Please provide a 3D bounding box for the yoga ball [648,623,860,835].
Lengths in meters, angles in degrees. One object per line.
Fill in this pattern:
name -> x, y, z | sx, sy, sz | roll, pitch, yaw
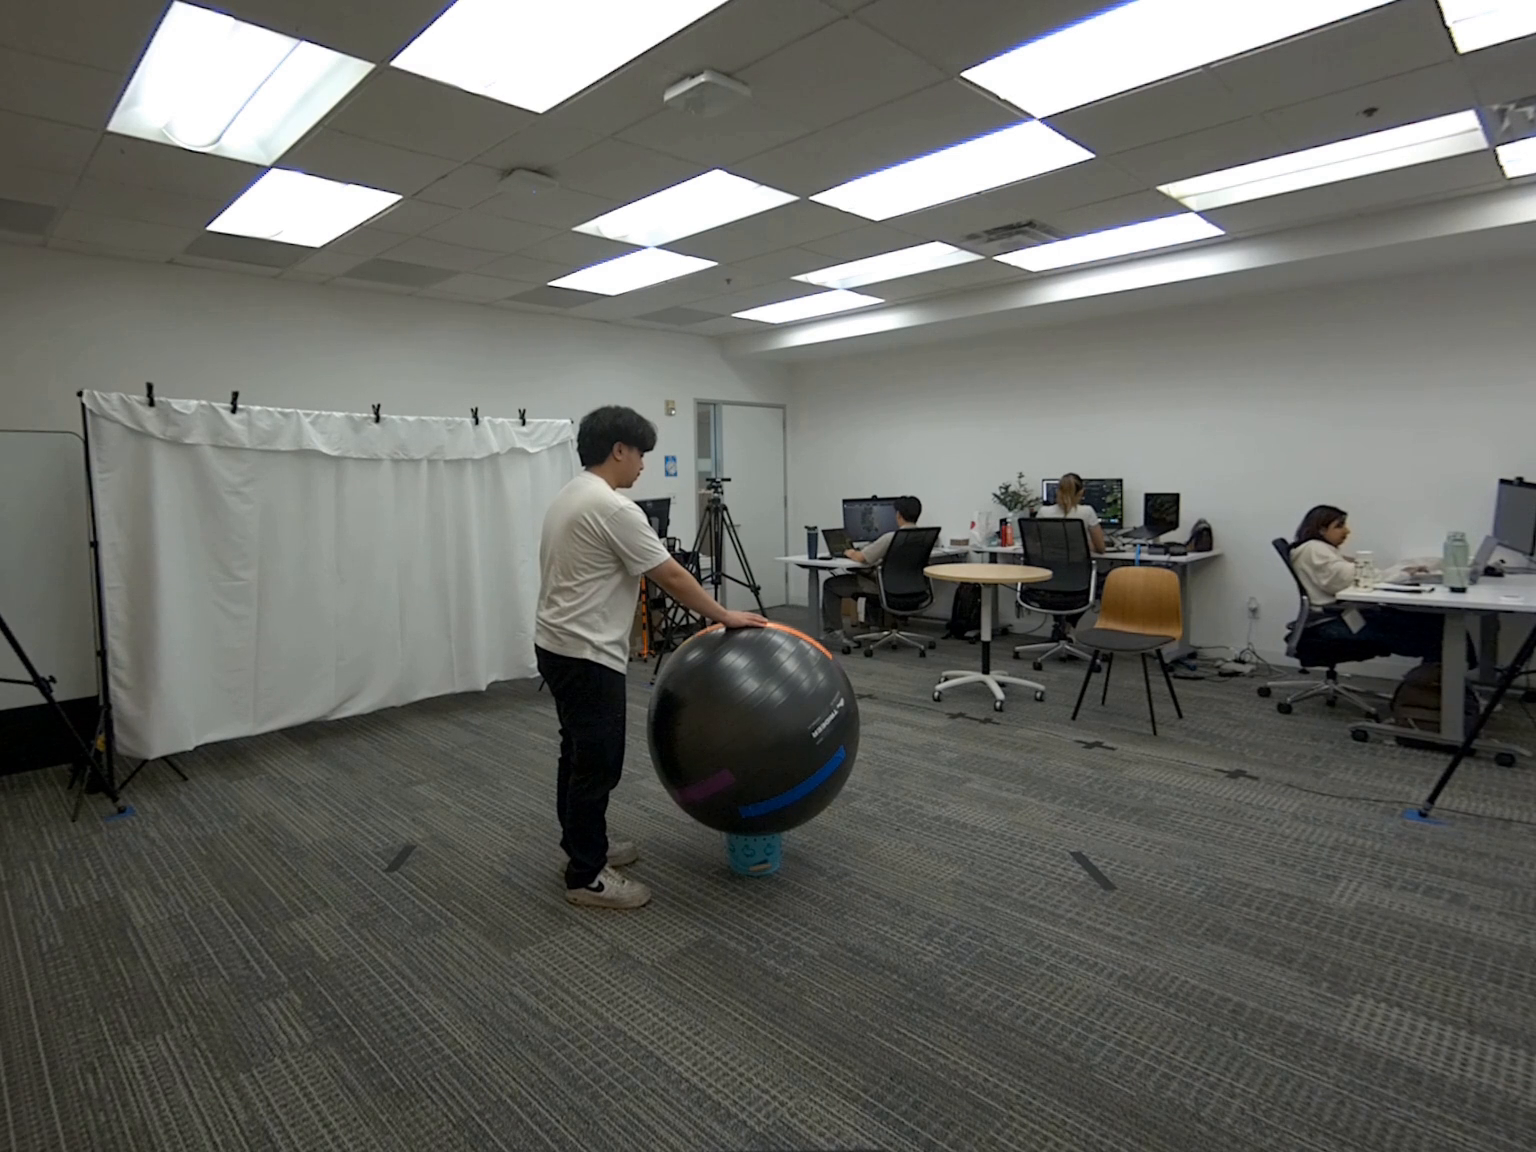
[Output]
yoga ball -> -0.050, 0.540, 3.059 | 0.757, 0.755, 0.762 | -1, 5, -2
